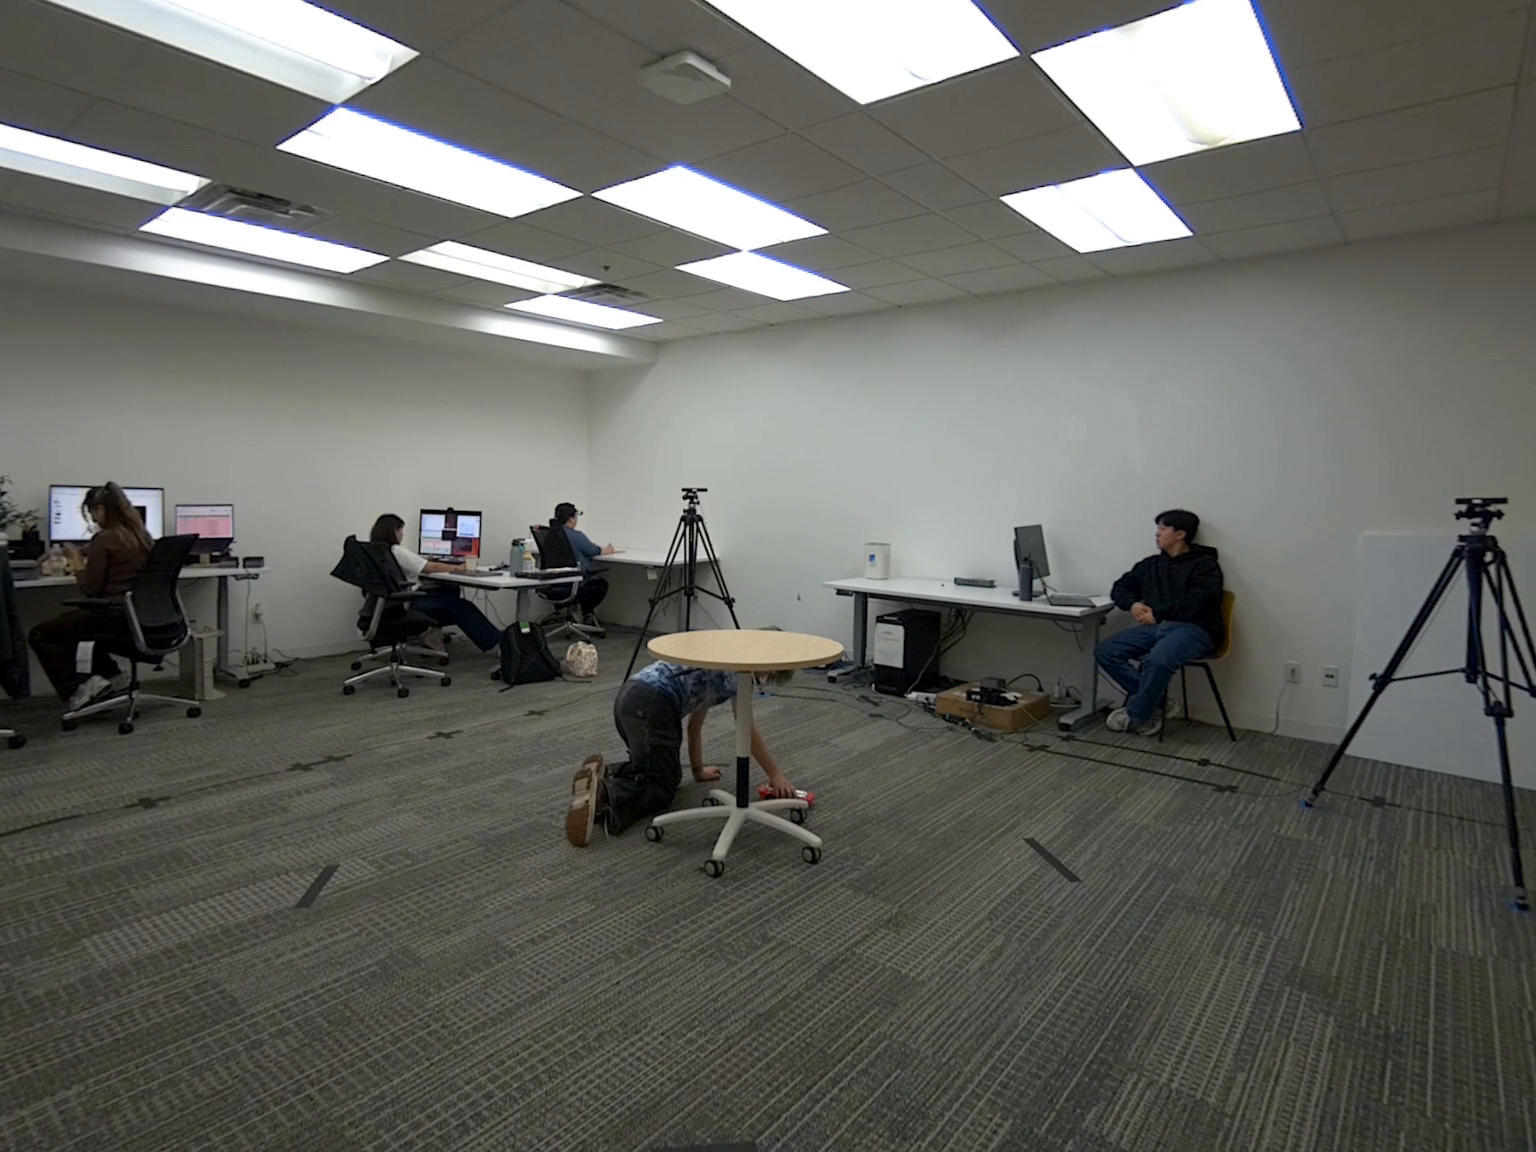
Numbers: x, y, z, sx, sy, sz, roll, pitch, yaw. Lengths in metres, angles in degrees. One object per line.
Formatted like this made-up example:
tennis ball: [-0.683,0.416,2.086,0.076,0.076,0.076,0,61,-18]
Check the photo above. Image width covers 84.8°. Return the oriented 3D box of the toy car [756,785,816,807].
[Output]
toy car: [0.074,0.980,3.797,0.259,0.083,0.129,14,9,14]
